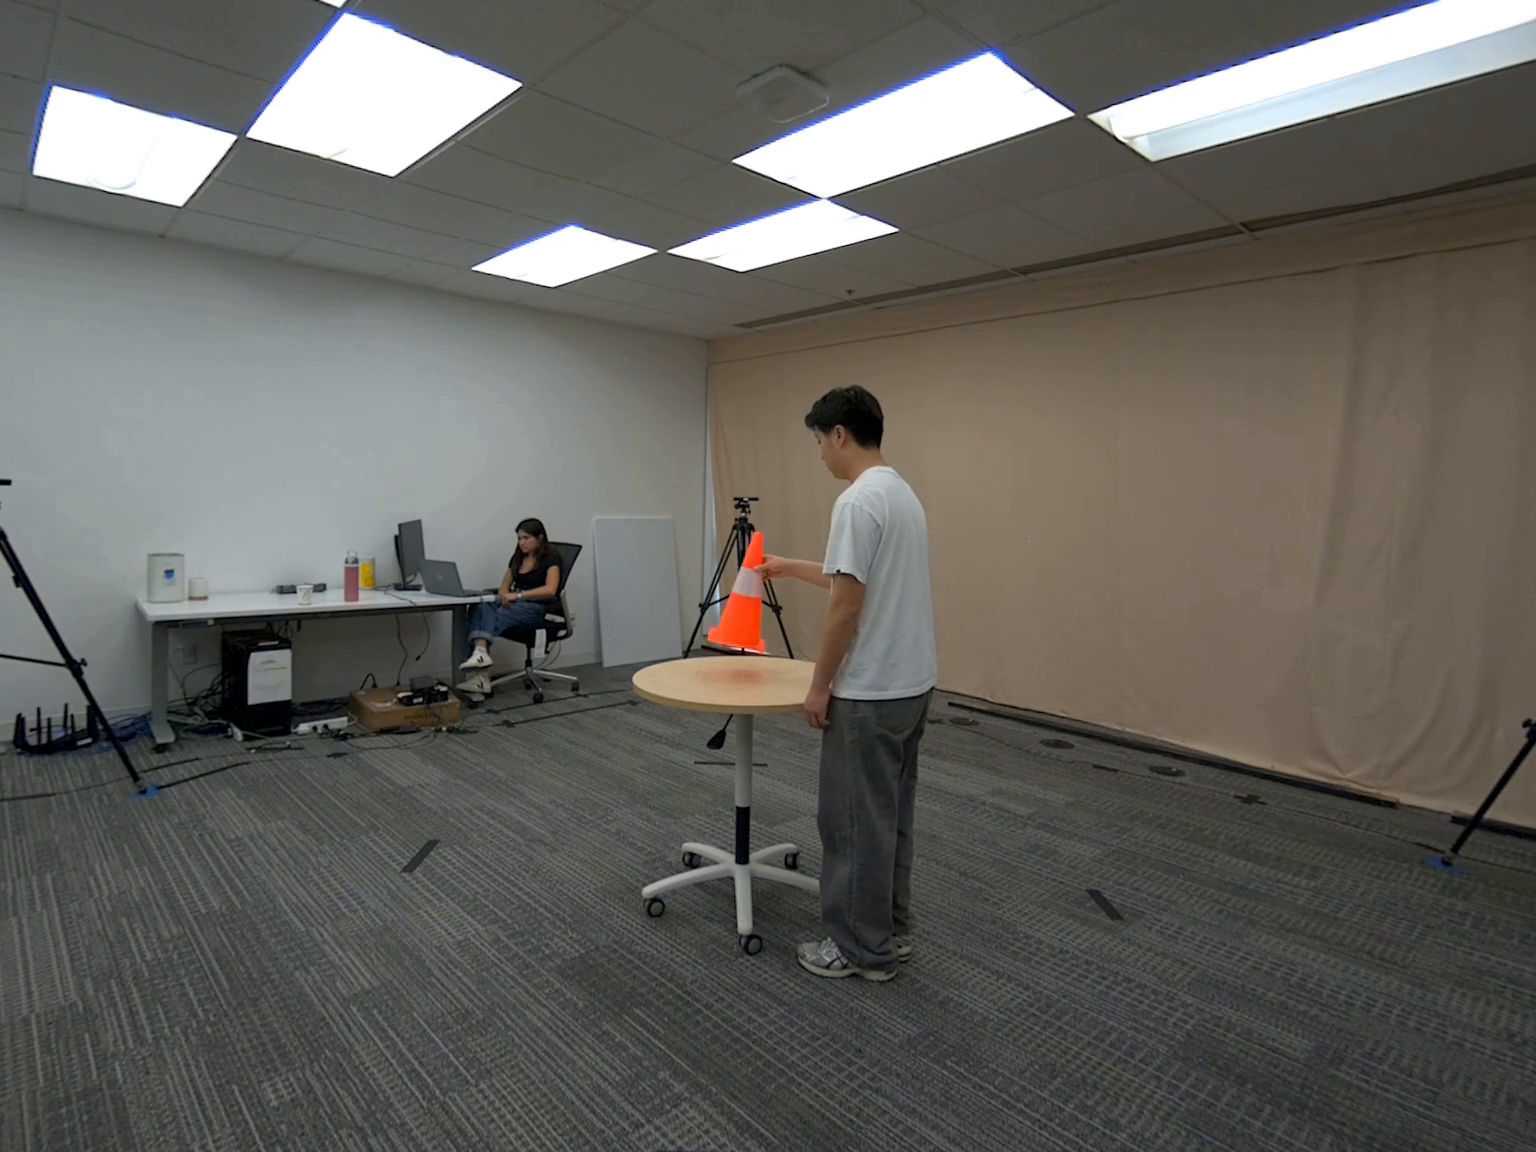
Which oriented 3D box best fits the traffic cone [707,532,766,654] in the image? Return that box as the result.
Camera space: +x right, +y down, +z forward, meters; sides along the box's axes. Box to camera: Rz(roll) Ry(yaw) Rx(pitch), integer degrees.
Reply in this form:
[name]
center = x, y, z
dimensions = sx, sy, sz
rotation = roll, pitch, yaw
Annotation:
[traffic cone]
center = -0.065, 0.052, 2.881
dimensions = 0.204, 0.382, 0.204
rotation = 11, 5, 4
